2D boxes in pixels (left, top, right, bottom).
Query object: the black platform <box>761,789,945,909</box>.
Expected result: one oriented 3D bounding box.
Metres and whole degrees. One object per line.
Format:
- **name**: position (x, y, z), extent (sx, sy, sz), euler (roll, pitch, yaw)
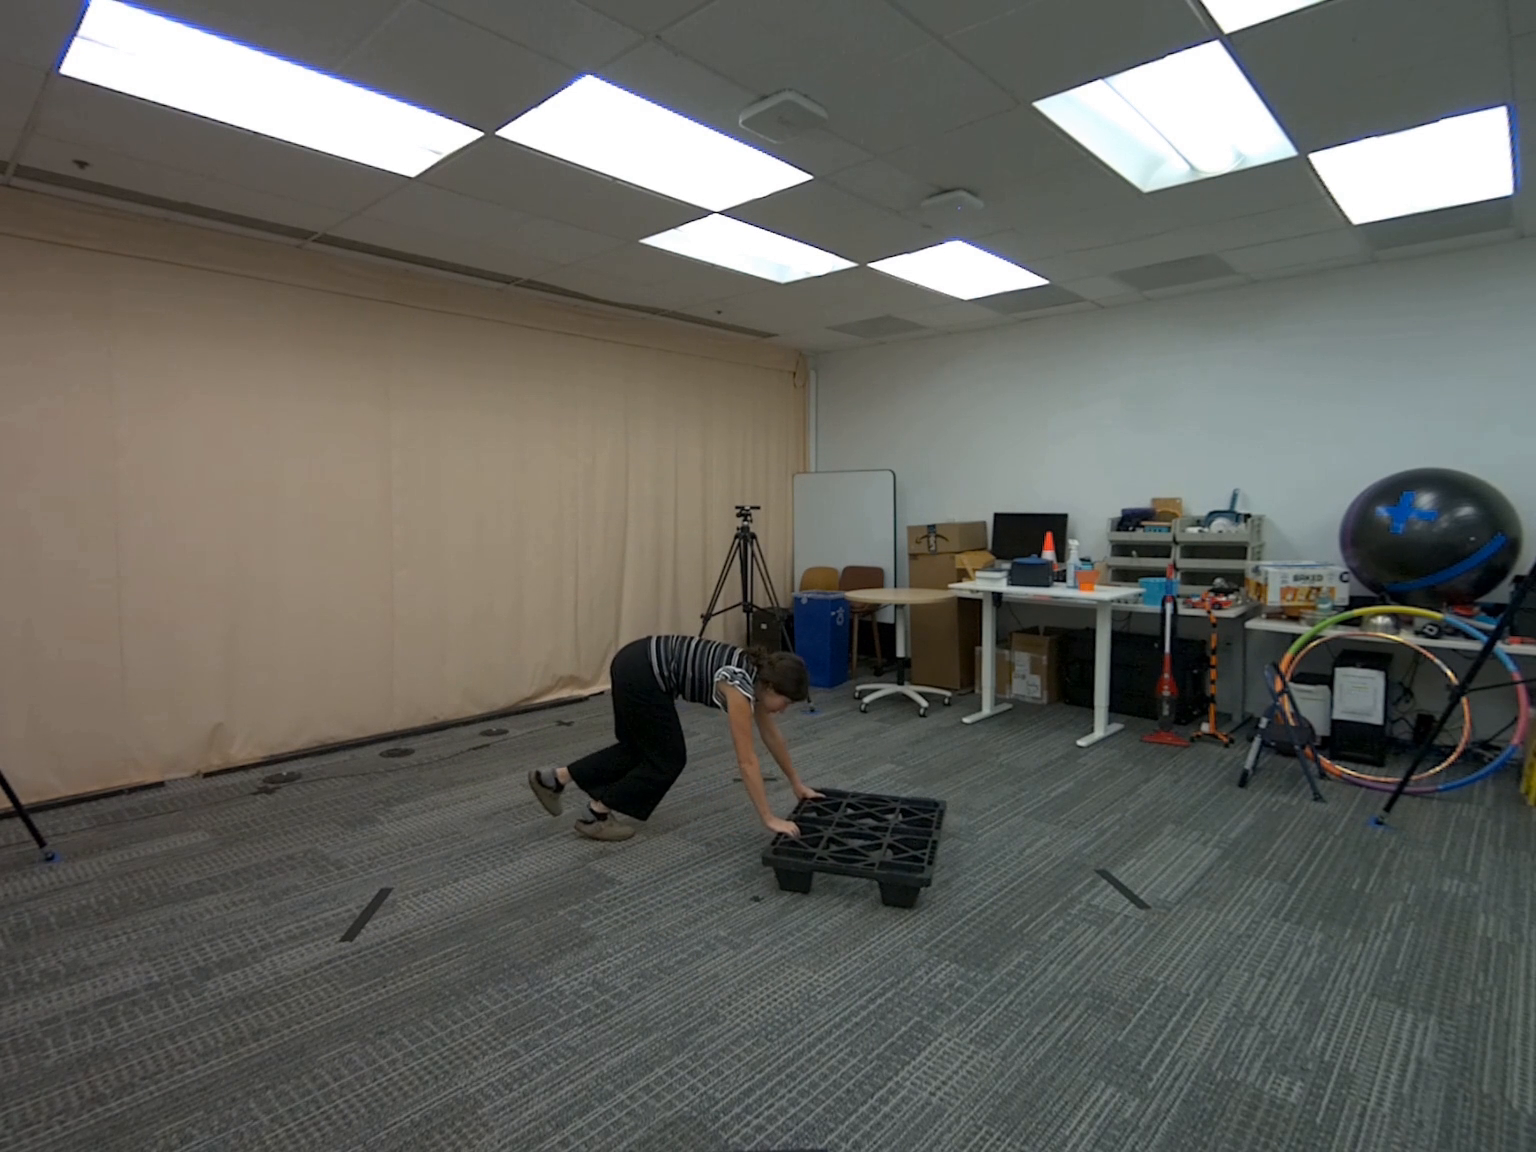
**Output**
- **black platform**: position (0.371, 1.045, 3.314), extent (0.616, 0.143, 0.793), euler (2, 5, 16)
